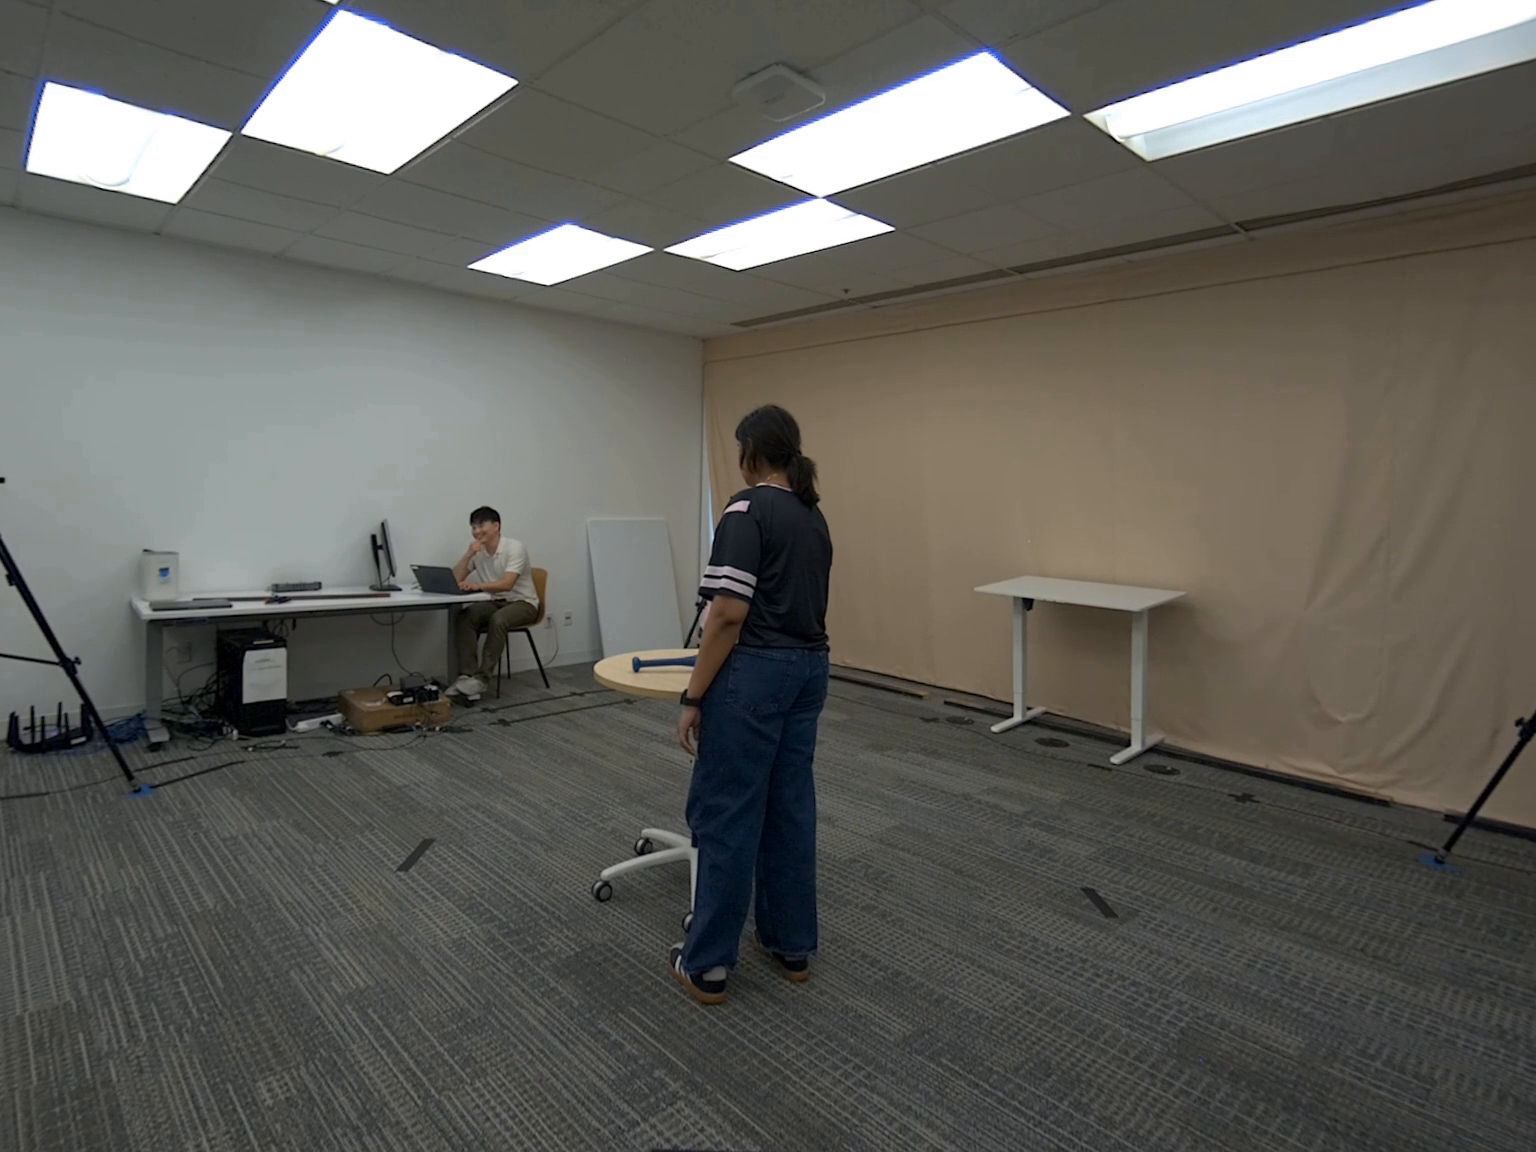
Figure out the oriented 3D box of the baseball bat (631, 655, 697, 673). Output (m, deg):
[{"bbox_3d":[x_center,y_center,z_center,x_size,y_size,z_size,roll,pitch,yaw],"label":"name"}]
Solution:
[{"bbox_3d":[-0.205,0.302,2.921,0.539,0.089,0.090,-2,5,-9],"label":"baseball bat"}]
